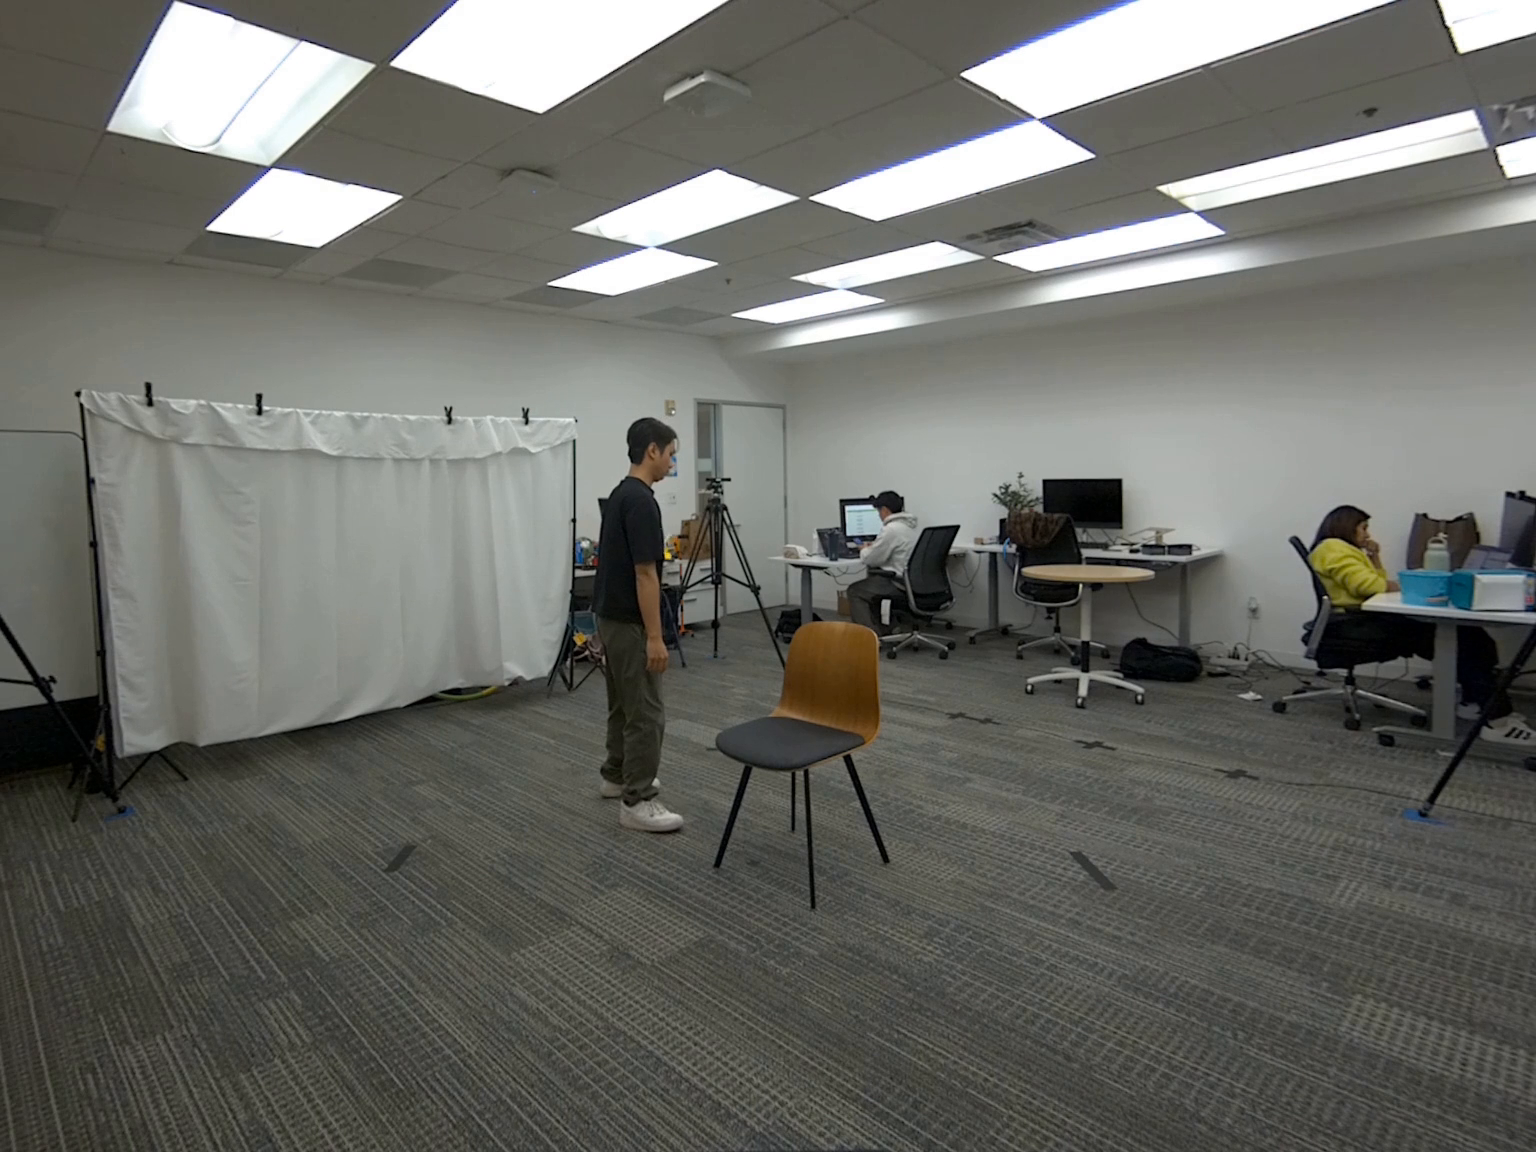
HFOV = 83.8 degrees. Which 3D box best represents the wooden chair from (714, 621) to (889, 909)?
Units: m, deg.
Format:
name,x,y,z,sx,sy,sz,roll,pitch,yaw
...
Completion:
name,x,y,z,sx,sy,sz,roll,pitch,yaw
wooden chair,0.110,0.618,3.035,0.493,0.876,0.508,3,2,42
